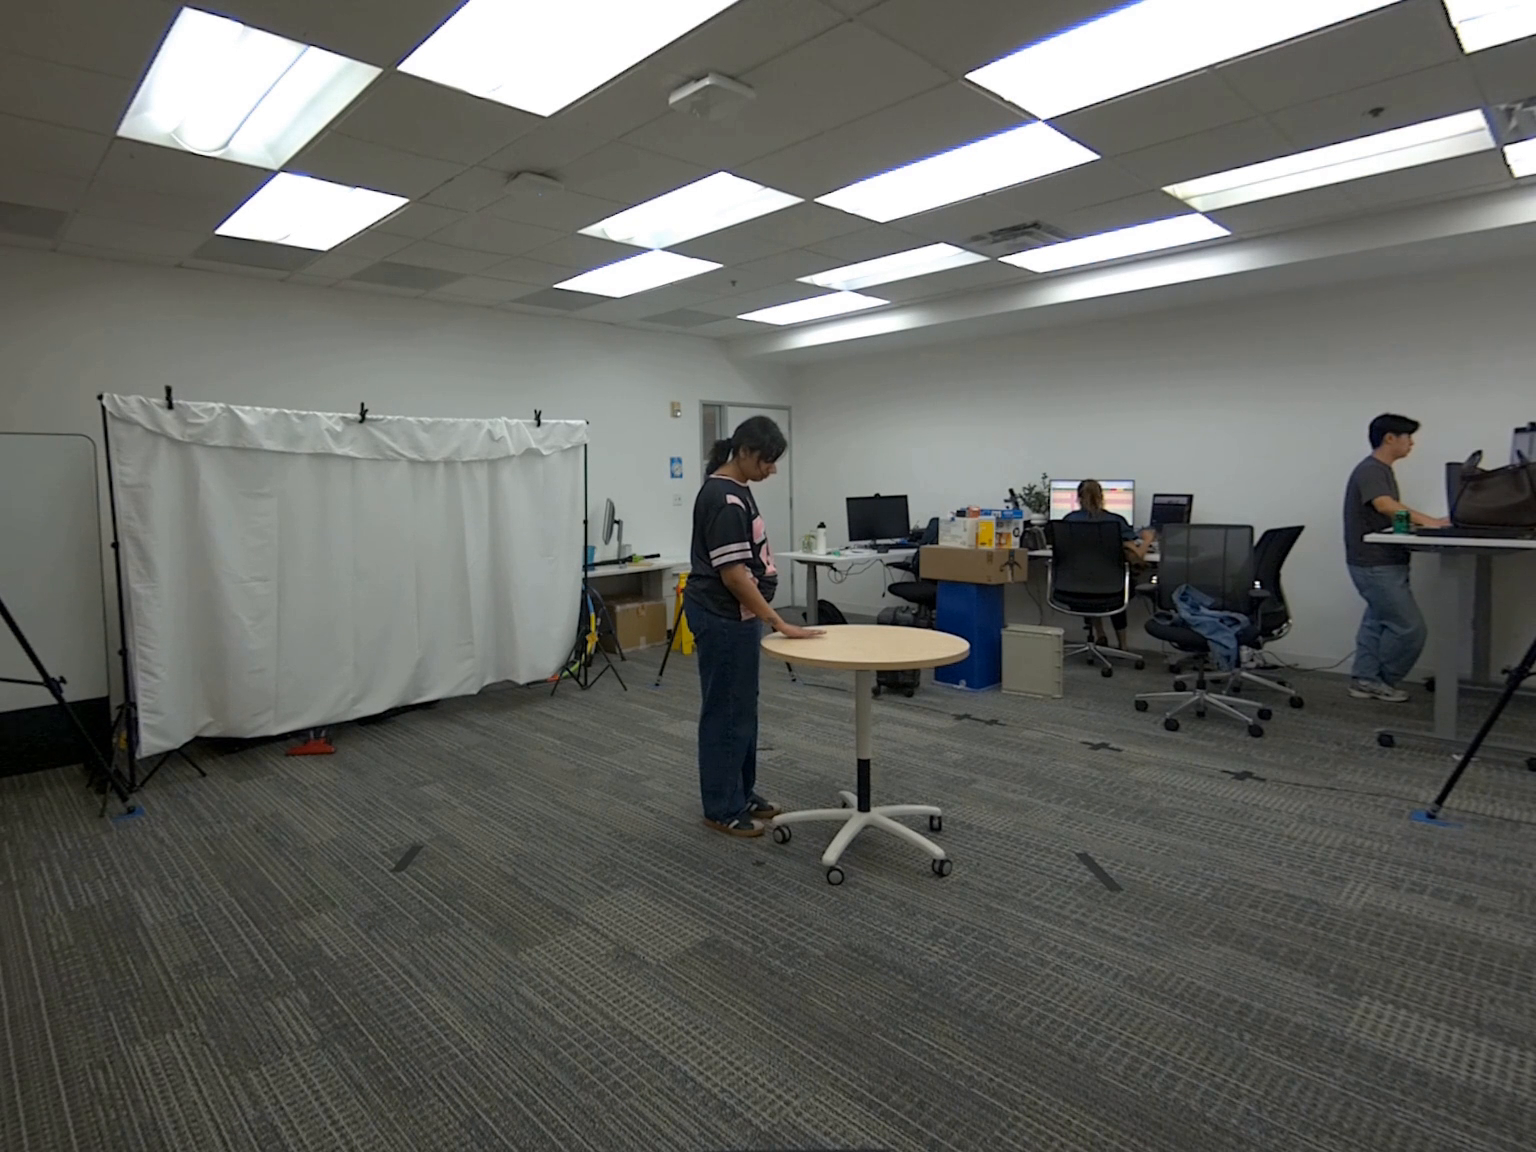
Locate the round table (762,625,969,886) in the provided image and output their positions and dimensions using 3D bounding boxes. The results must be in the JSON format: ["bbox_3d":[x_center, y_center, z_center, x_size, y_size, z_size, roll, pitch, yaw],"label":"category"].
[{"bbox_3d":[0.370,0.634,3.223,0.784,0.783,0.789,-1,5,-2],"label":"round table"}]
